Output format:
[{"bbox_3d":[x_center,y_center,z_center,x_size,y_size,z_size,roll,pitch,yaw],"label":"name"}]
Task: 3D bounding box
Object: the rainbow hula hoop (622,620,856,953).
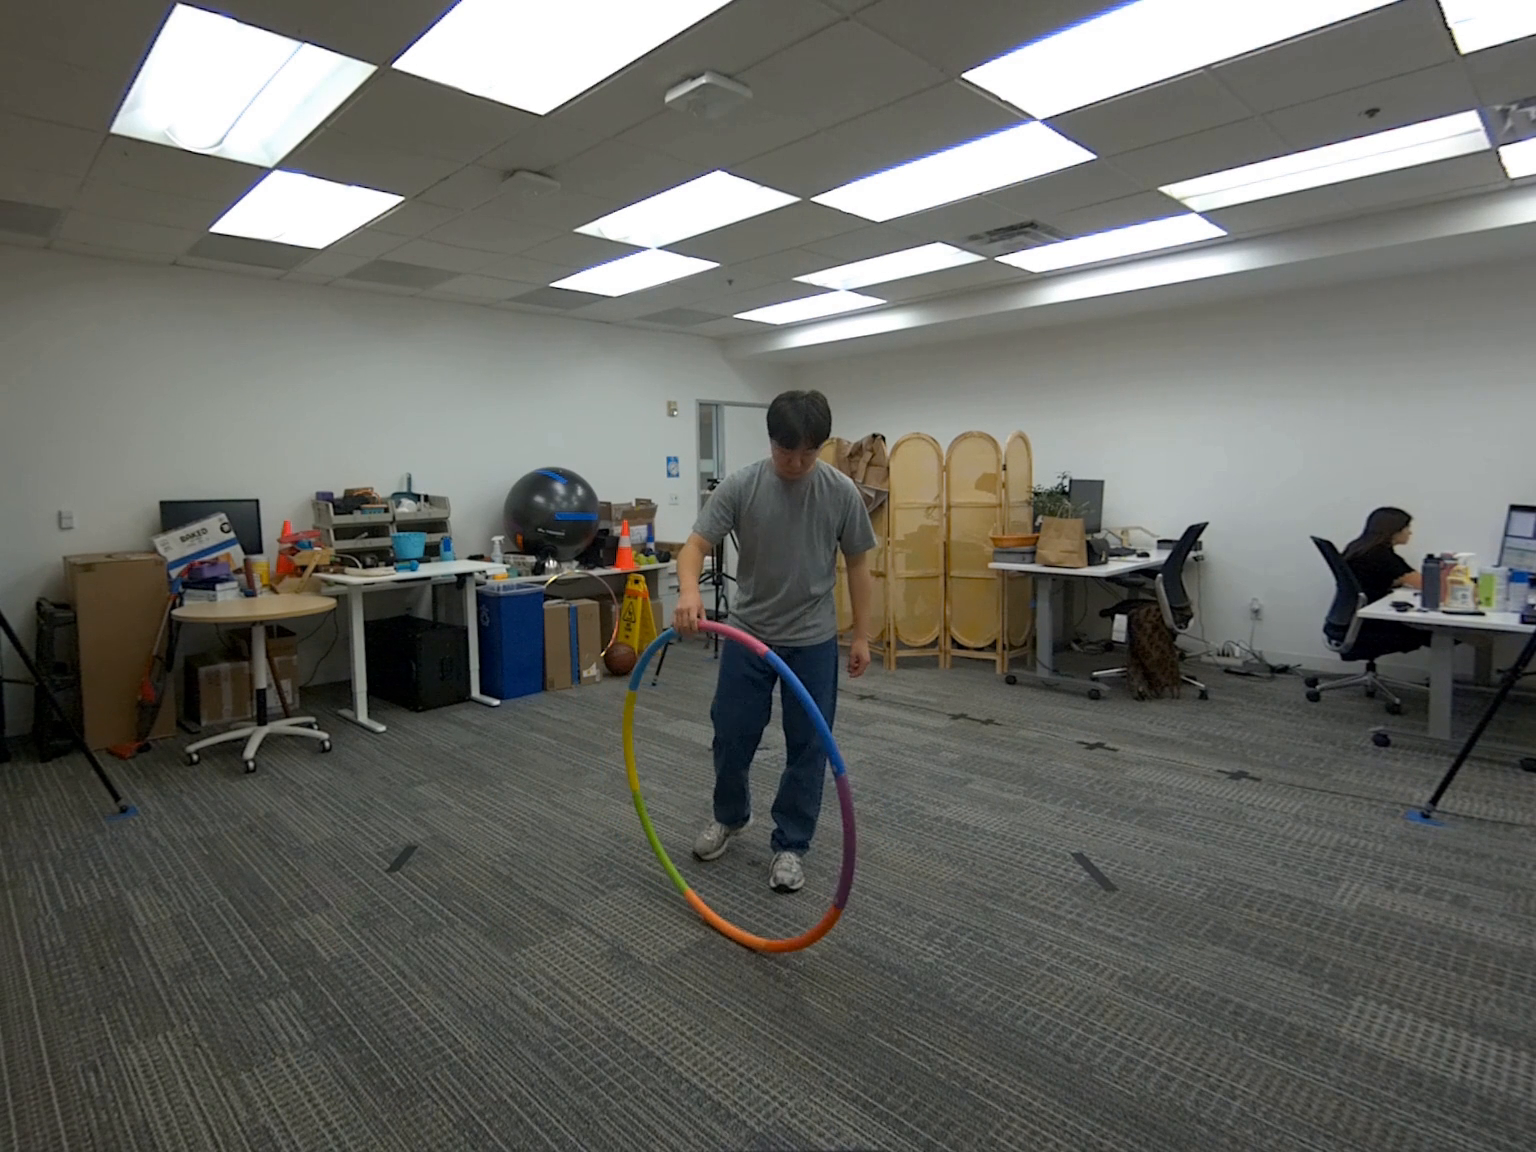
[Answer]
[{"bbox_3d":[-0.129,0.623,2.556,0.035,0.972,1.009,-9,9,-43],"label":"rainbow hula hoop"}]
